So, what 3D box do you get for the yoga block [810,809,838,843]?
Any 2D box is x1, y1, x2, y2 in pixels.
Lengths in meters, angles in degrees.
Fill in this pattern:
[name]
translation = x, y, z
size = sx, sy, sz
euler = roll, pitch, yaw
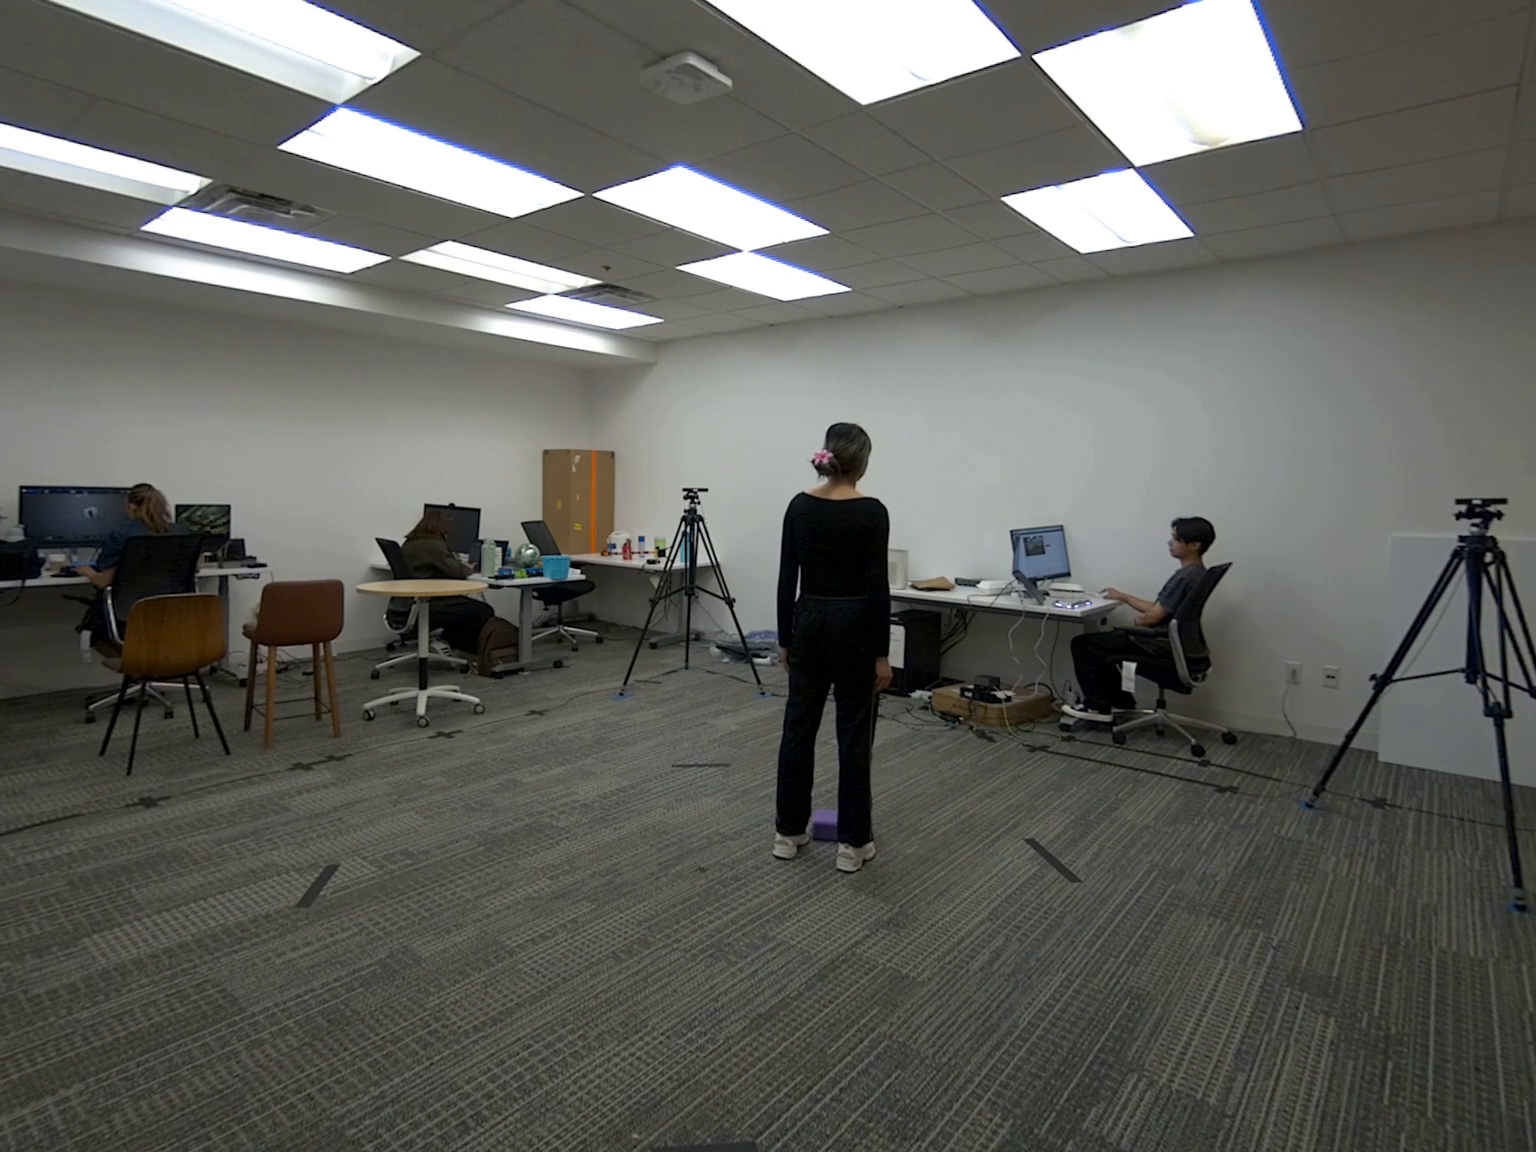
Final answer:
[yoga block]
translation = 0.287, 1.004, 3.441
size = 0.232, 0.076, 0.148
euler = 0, 6, 10
